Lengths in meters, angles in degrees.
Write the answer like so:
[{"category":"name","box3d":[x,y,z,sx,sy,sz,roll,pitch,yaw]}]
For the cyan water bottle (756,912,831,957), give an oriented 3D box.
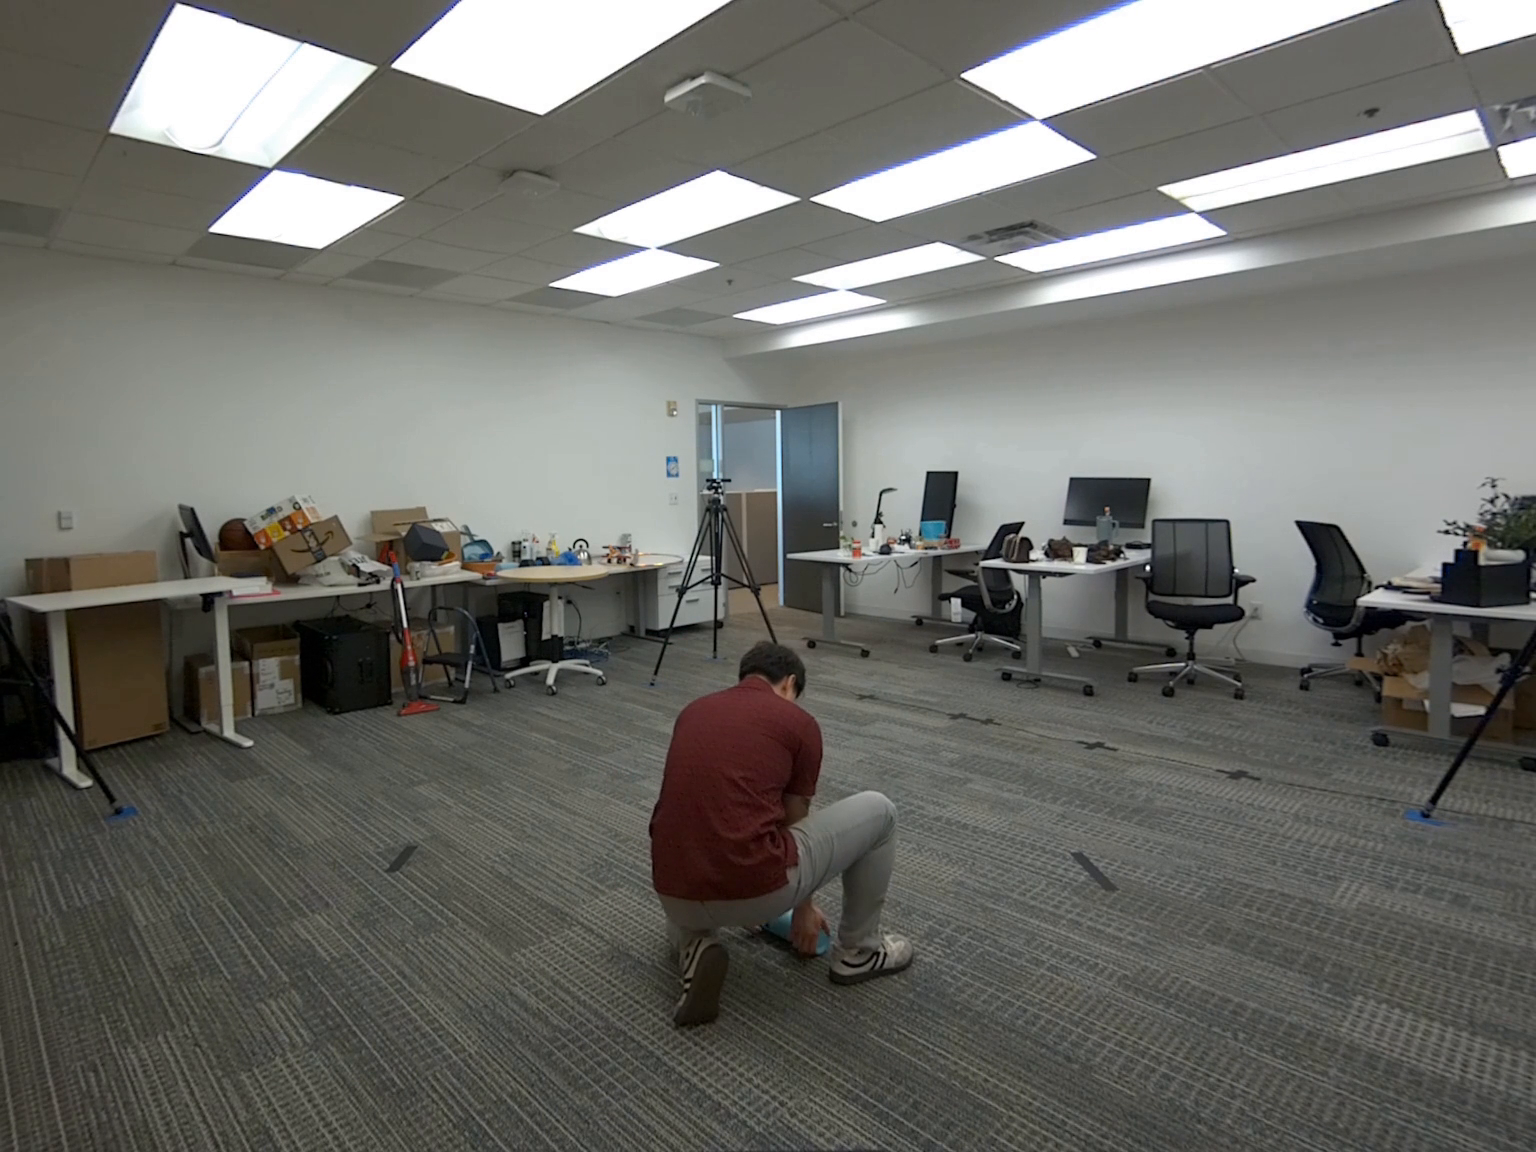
[{"category":"cyan water bottle","box3d":[0.066,1.058,2.598,0.292,0.092,0.090,5,7,44]}]
